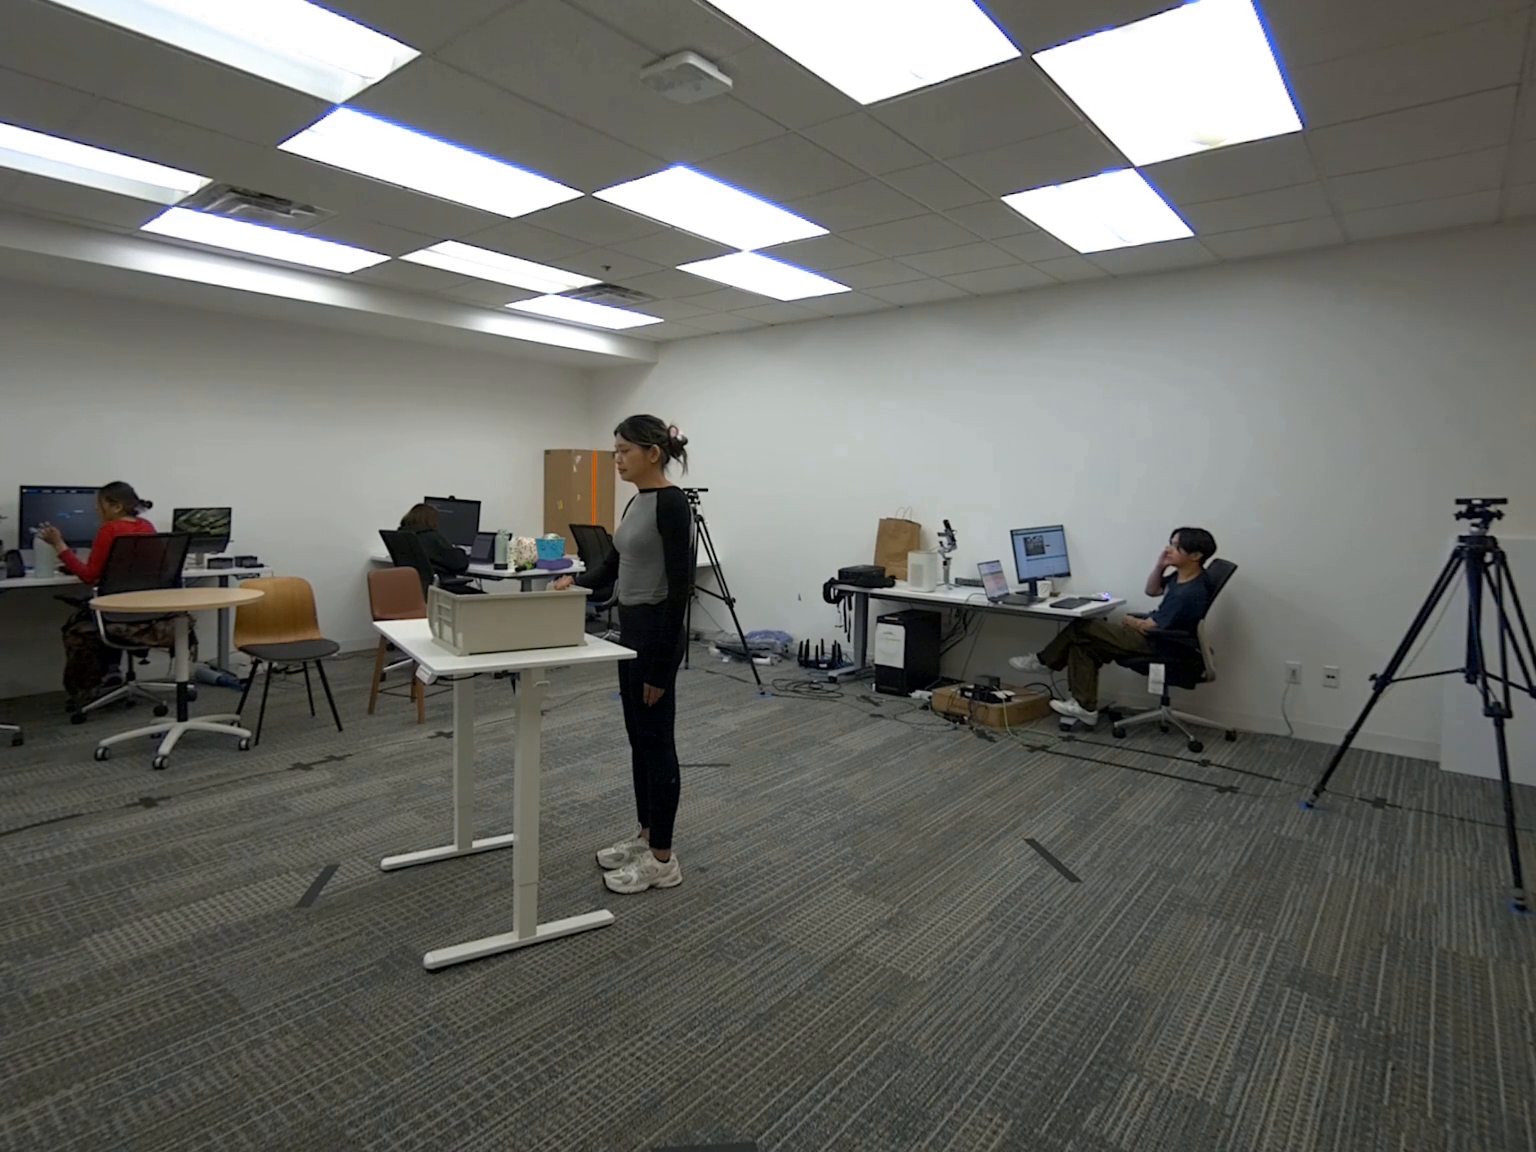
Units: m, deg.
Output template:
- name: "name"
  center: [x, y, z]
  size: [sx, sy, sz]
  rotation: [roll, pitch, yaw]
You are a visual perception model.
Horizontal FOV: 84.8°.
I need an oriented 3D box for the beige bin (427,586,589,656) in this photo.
- name: "beige bin"
  center: [-0.850, 0.128, 2.729]
  size: [0.410, 0.188, 0.390]
  rotation: [-2, 6, -33]
